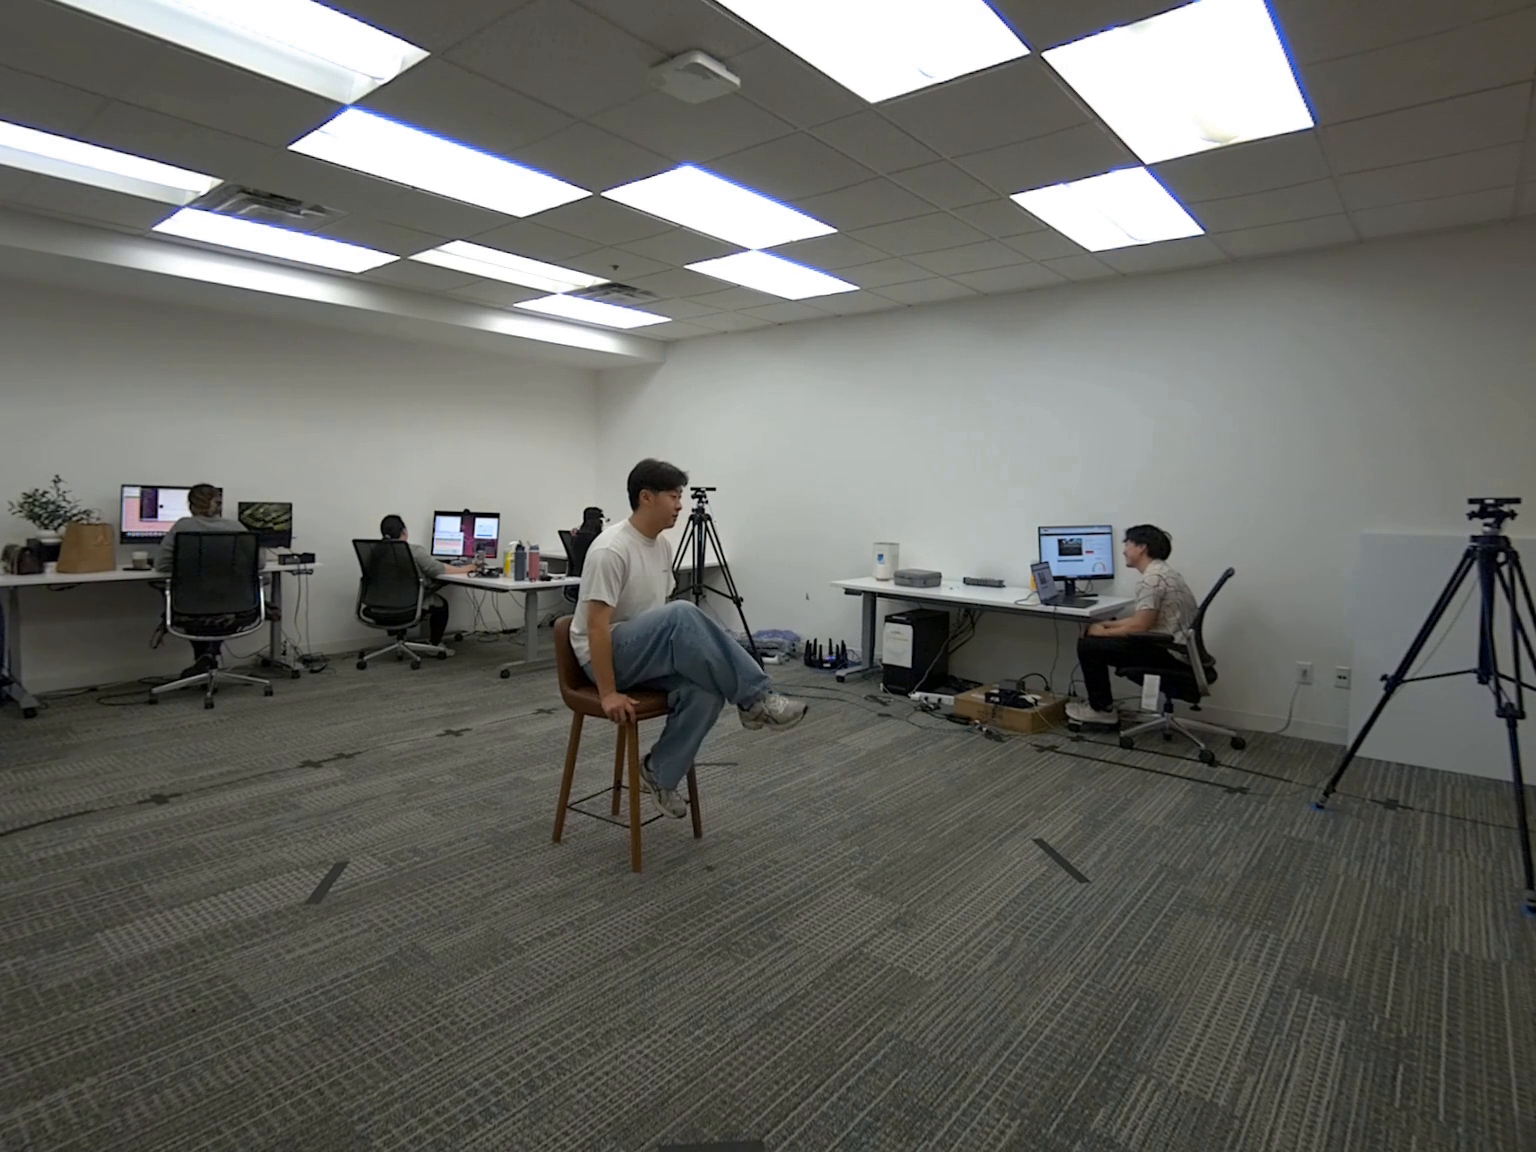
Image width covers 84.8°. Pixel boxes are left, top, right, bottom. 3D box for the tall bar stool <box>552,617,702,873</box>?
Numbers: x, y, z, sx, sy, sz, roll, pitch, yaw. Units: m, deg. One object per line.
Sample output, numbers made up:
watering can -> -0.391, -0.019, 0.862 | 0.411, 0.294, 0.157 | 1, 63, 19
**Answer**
tall bar stool -> -0.570, 0.604, 3.340 | 0.481, 0.890, 0.443 | 0, 0, 33
